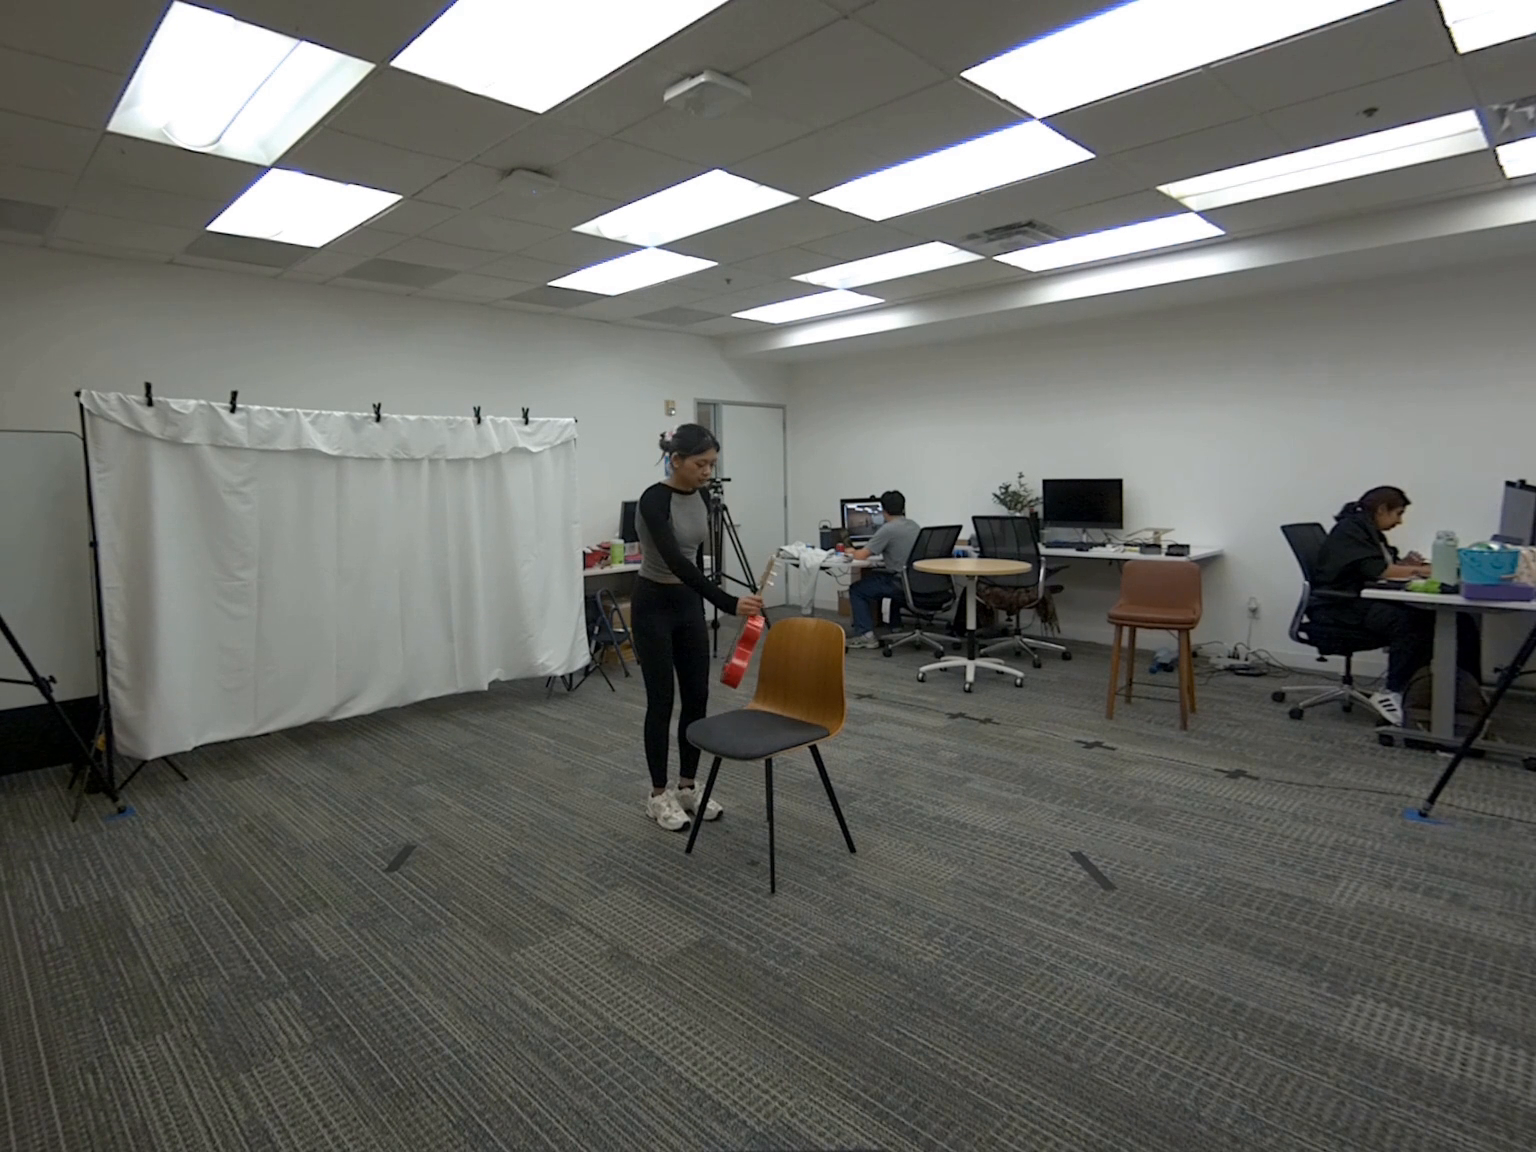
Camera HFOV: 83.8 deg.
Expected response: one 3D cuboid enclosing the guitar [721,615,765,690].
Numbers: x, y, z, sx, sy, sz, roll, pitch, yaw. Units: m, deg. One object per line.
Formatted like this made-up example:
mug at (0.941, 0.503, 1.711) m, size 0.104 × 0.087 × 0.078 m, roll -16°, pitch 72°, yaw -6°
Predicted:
guitar at (-0.060, 0.168, 3.086) m, size 0.070 × 0.496 × 0.194 m, roll 21°, pitch 7°, yaw -3°
